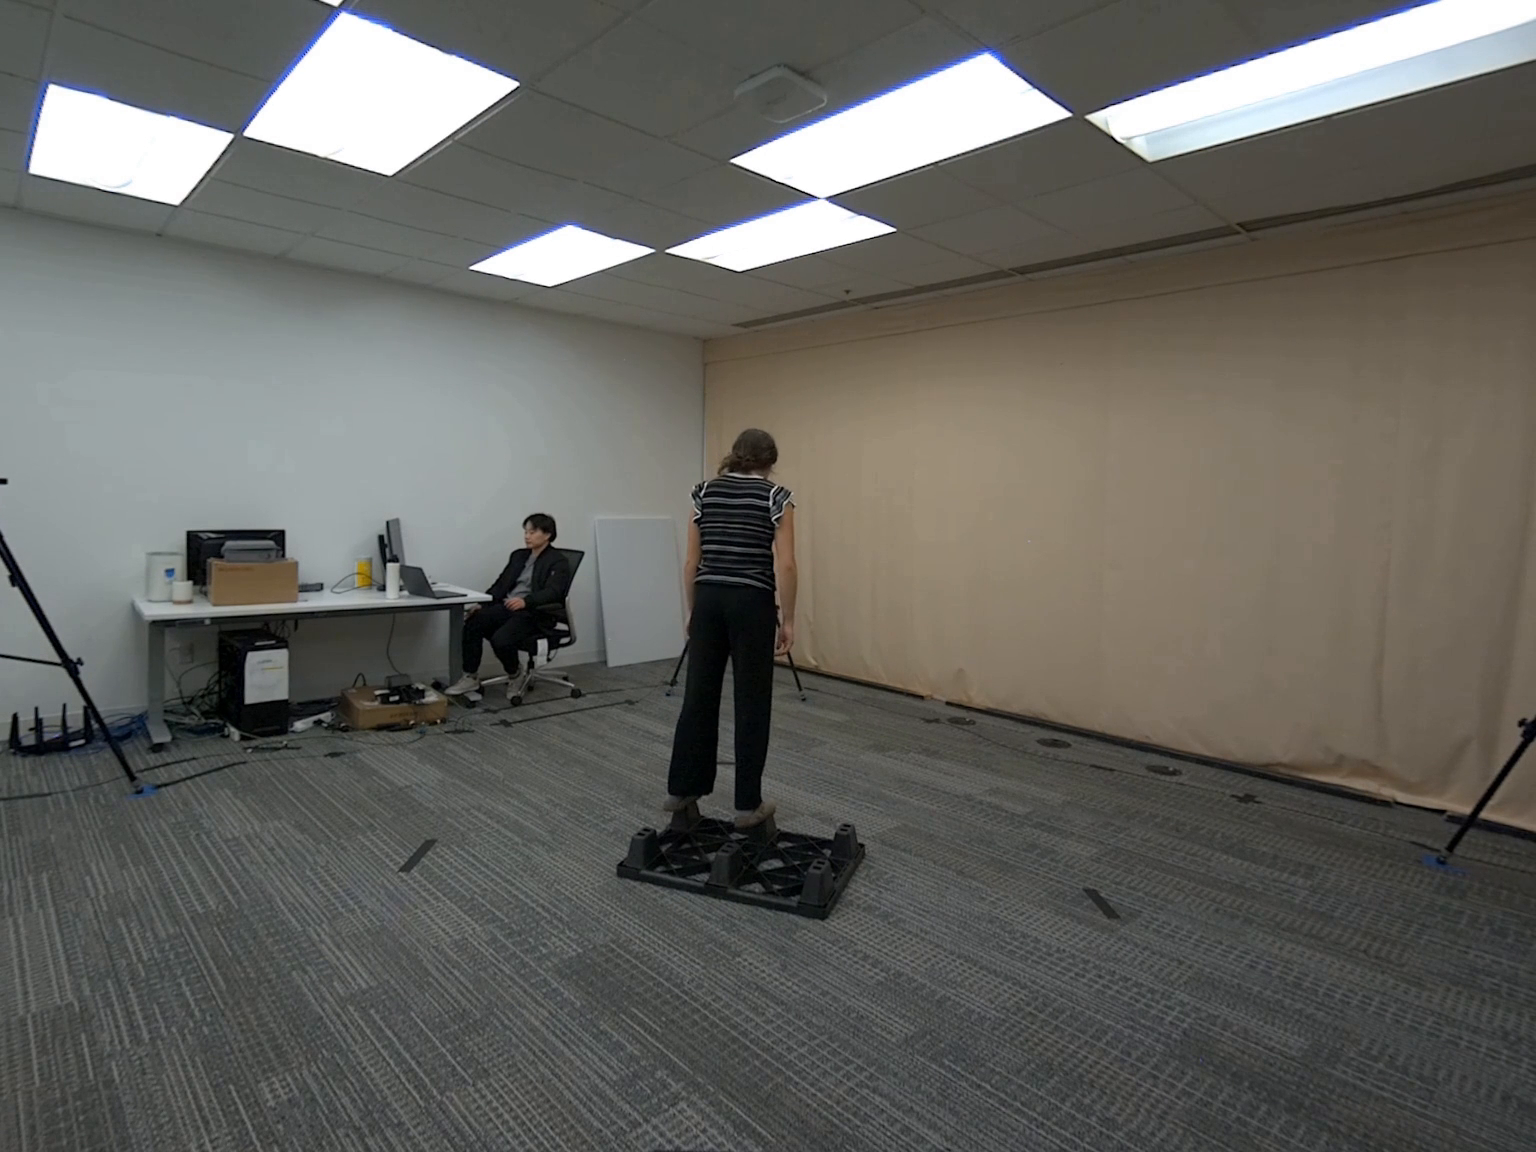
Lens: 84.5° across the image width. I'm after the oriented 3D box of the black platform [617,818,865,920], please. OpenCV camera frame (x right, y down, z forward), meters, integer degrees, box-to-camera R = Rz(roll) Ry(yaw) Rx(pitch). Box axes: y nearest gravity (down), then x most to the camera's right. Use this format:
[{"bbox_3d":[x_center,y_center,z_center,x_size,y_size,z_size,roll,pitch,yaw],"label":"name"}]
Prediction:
[{"bbox_3d":[-0.096,1.035,3.199,0.819,0.143,0.596,3,4,21],"label":"black platform"}]
